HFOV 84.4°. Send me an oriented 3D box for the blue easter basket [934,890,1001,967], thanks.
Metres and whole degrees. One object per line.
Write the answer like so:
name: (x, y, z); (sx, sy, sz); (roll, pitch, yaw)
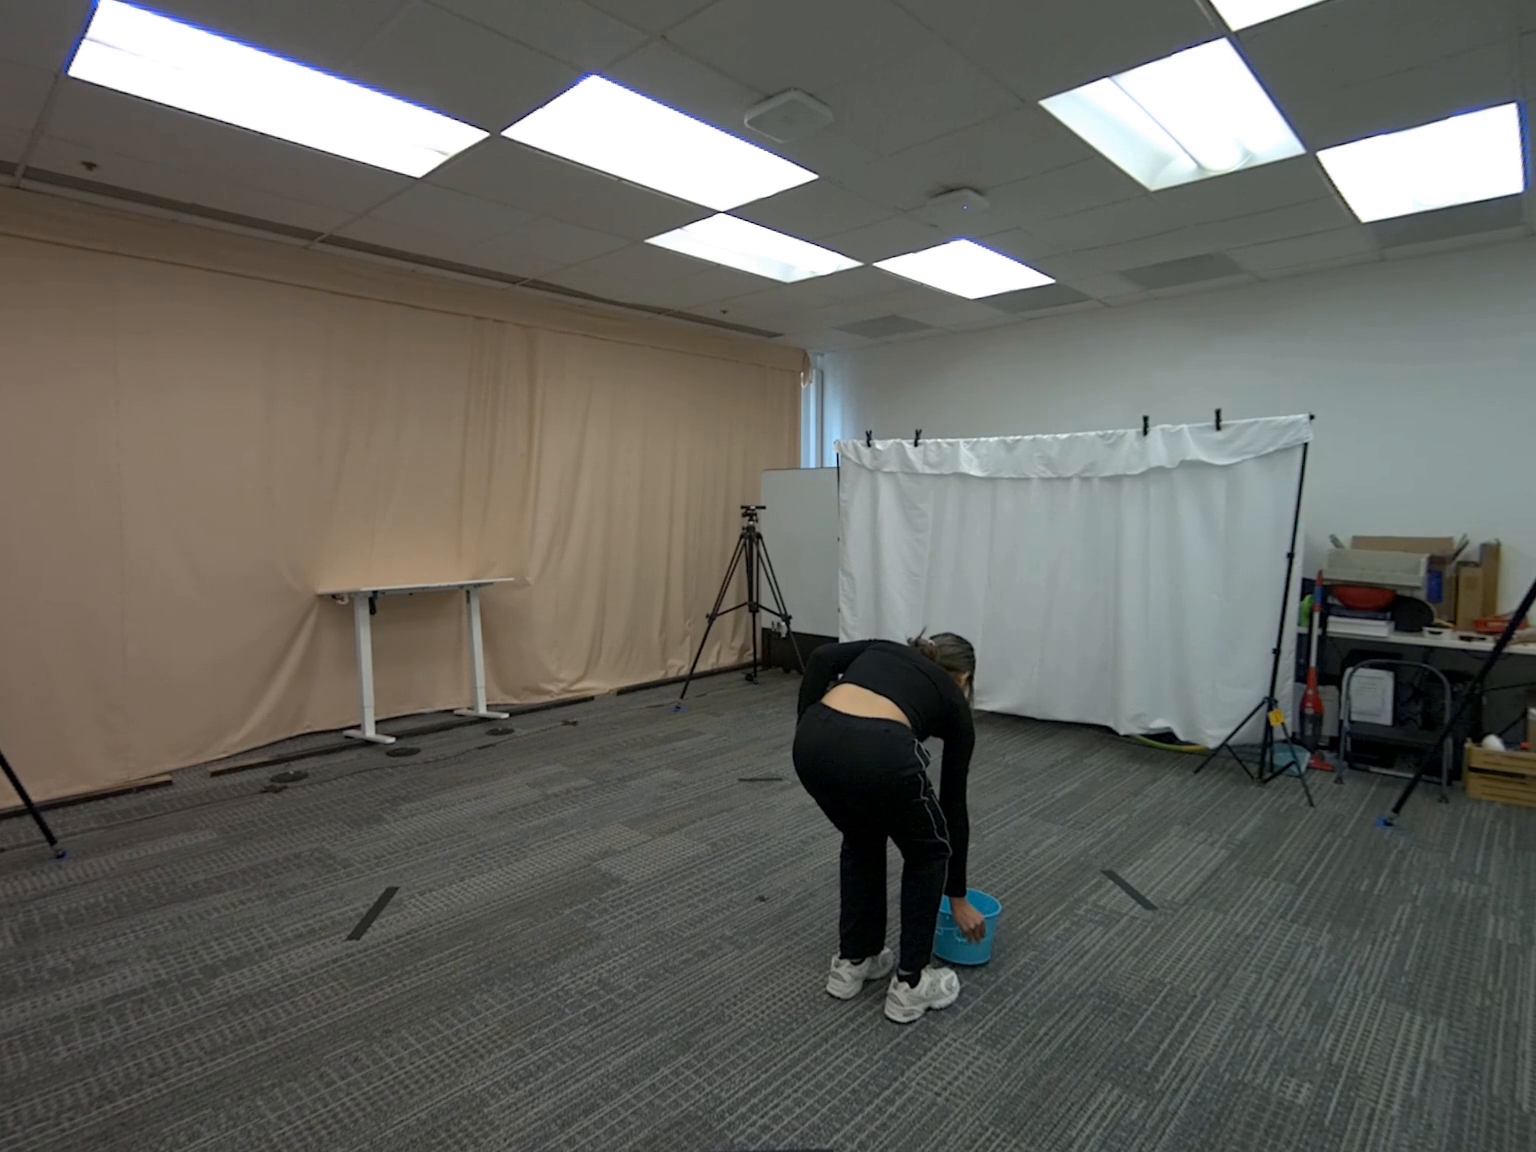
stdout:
blue easter basket: (0.601, 1.082, 2.598); (0.243, 0.156, 0.244); (2, 2, -2)
